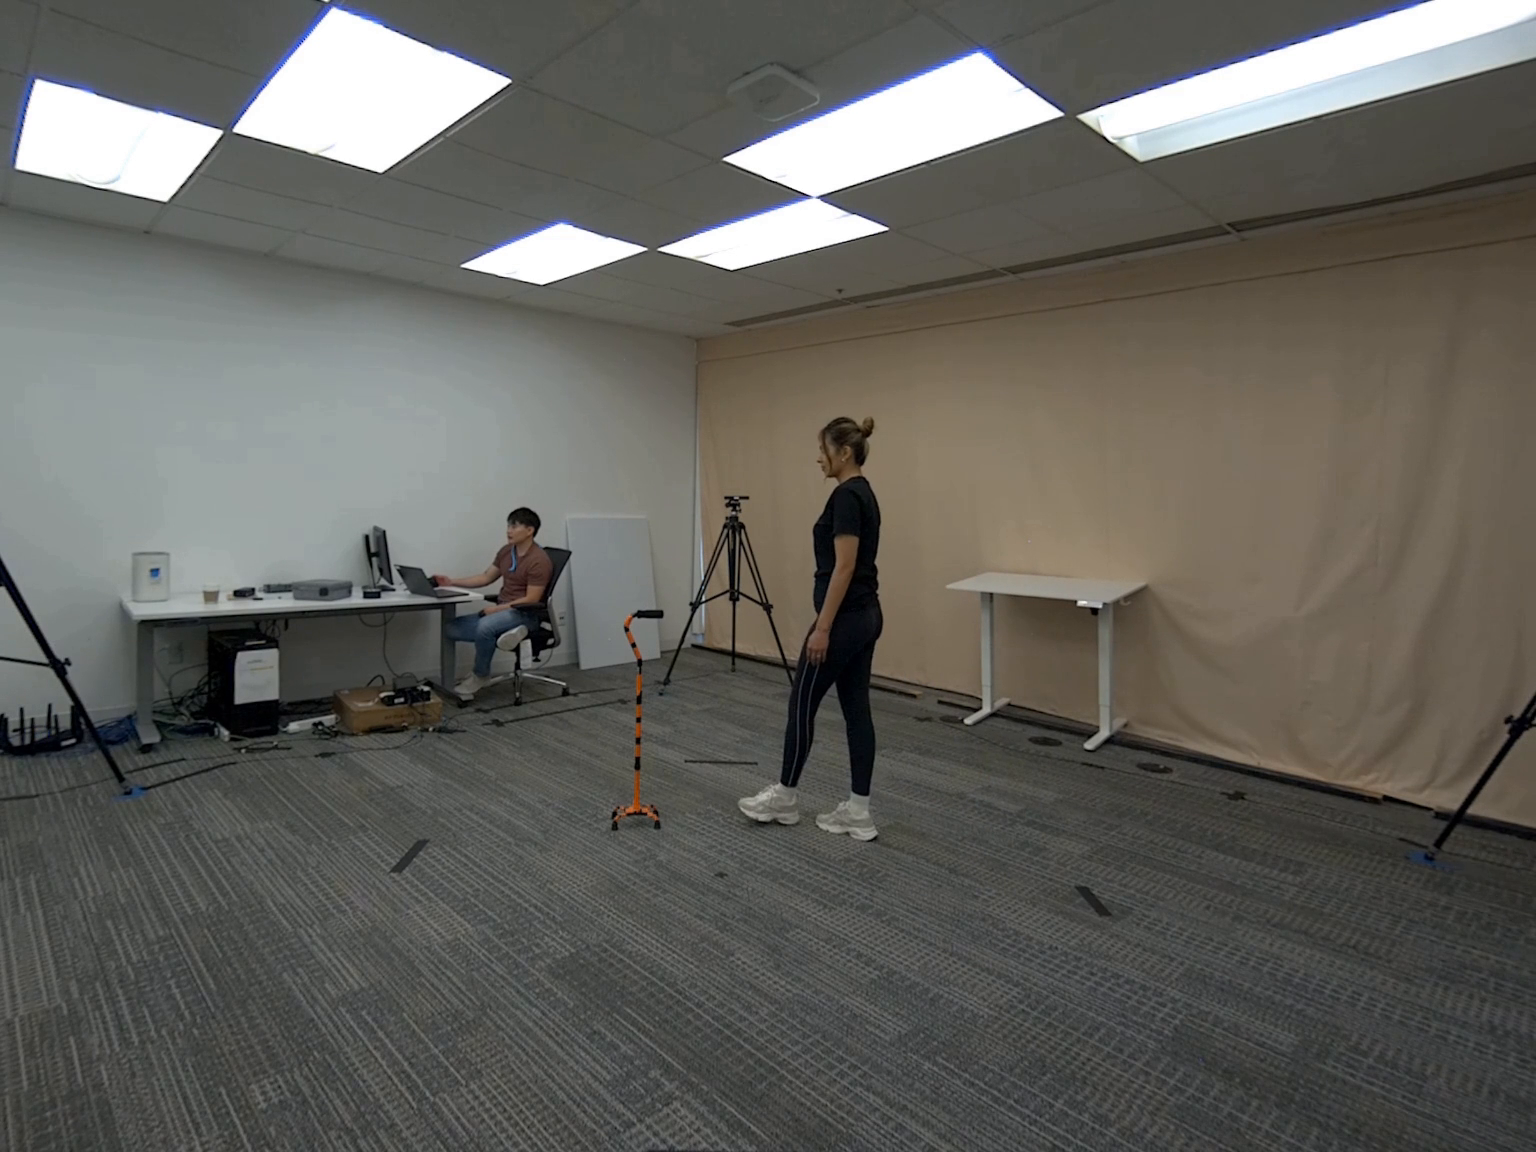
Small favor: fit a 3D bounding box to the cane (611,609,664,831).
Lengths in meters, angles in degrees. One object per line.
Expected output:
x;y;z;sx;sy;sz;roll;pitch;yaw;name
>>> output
-0.562;0.603;3.560;0.205;0.906;0.153;1;3;-11;cane
